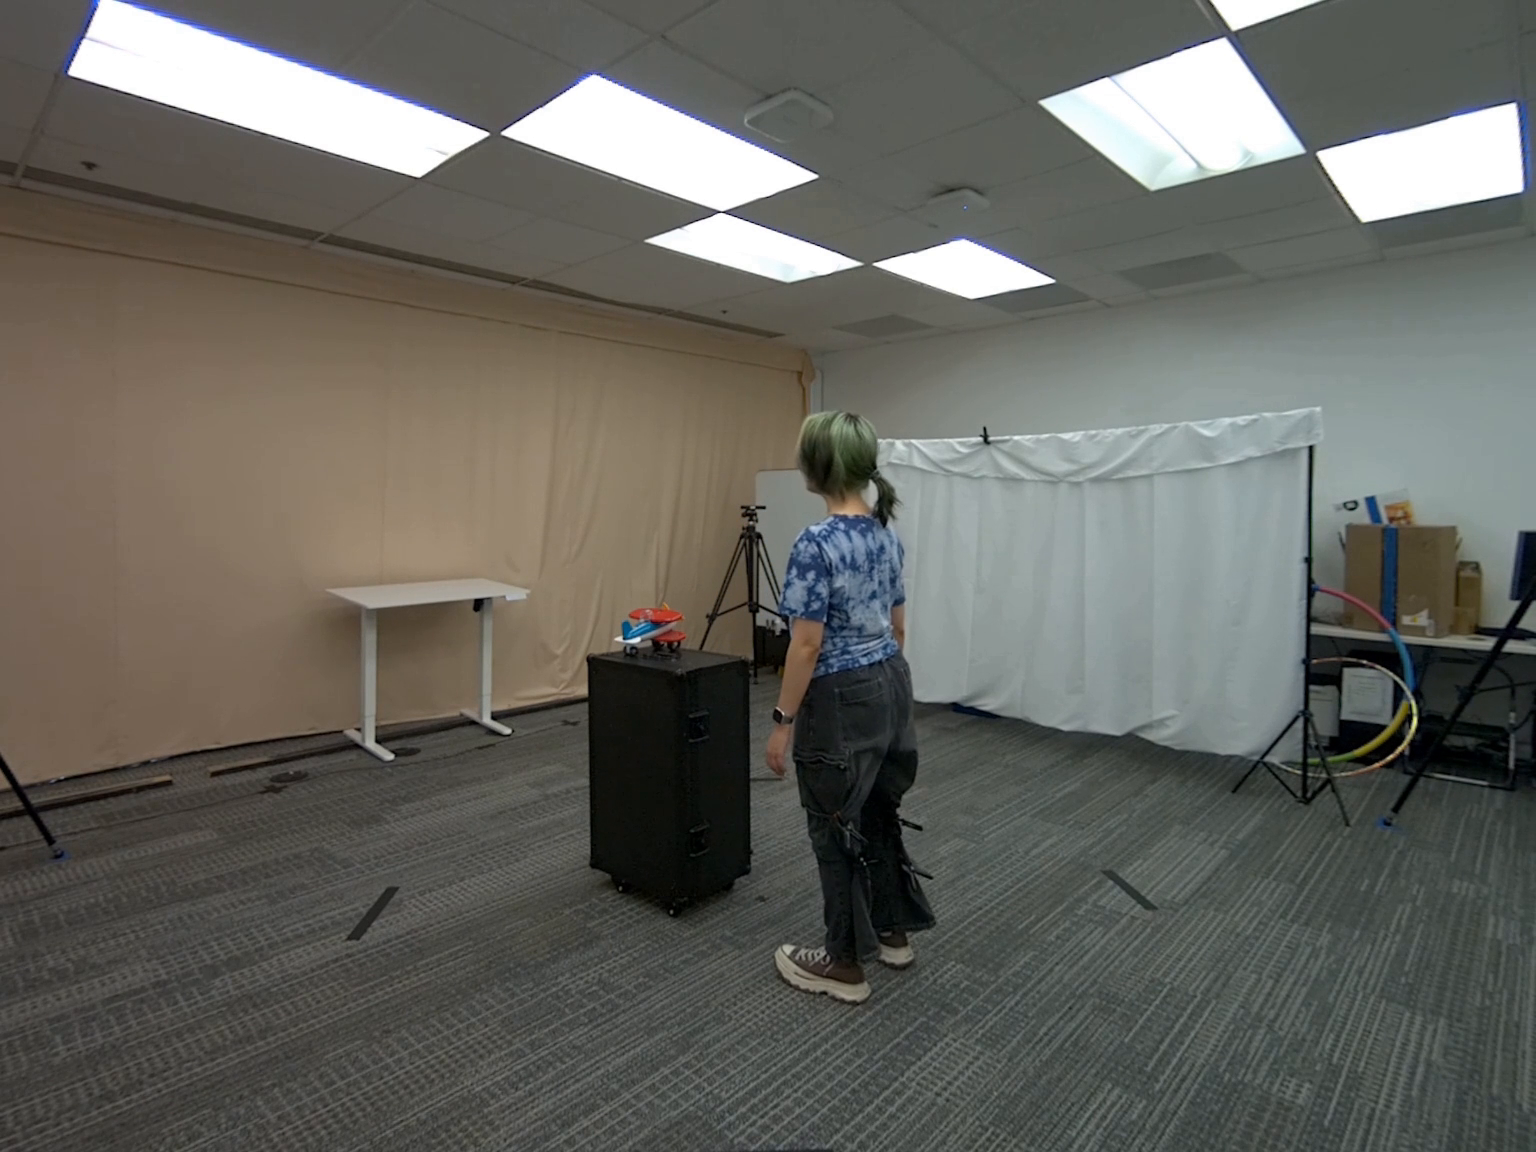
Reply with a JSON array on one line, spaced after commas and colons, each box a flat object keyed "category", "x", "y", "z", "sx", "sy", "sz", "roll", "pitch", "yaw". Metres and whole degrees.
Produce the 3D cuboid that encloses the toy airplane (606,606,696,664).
[{"category": "toy airplane", "x": -0.428, "y": 0.211, "z": 3.121, "sx": 0.255, "sy": 0.156, "sz": 0.256, "roll": 3, "pitch": 4, "yaw": 13}]
